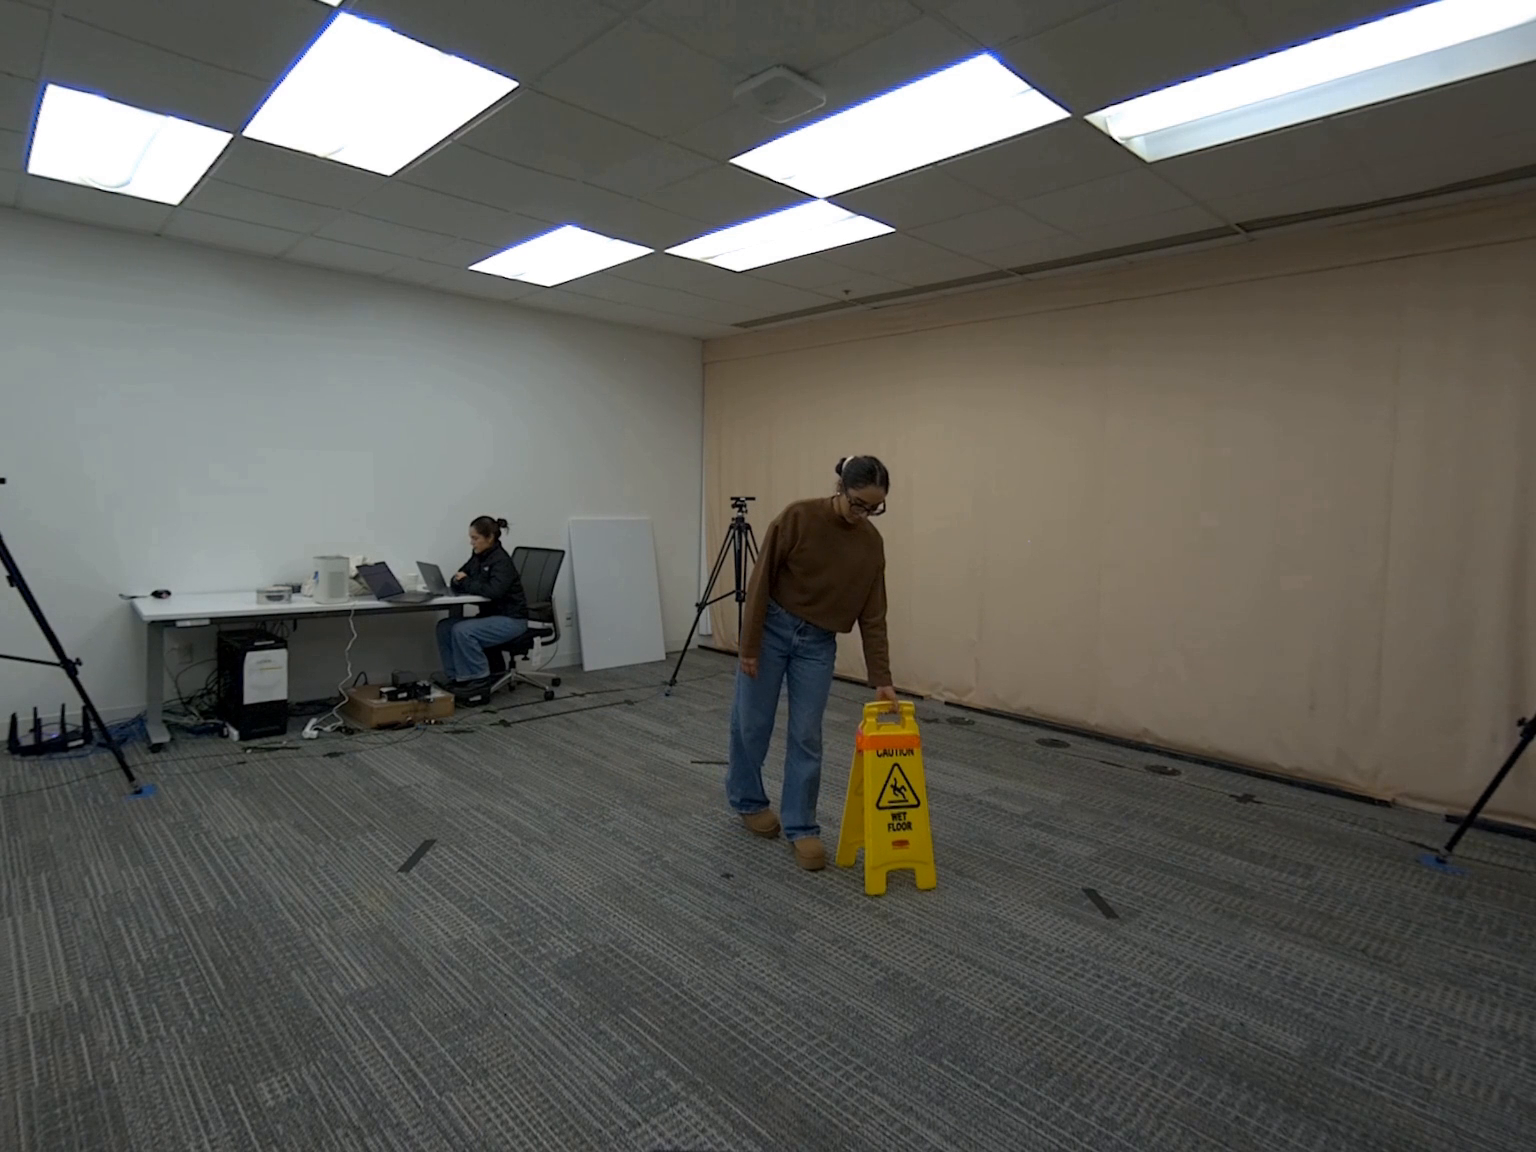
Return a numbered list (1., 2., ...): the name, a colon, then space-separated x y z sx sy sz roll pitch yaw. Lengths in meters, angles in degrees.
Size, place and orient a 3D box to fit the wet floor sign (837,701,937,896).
1. wet floor sign: 0.434 0.785 3.117 0.278 0.646 0.294 2 1 -19
